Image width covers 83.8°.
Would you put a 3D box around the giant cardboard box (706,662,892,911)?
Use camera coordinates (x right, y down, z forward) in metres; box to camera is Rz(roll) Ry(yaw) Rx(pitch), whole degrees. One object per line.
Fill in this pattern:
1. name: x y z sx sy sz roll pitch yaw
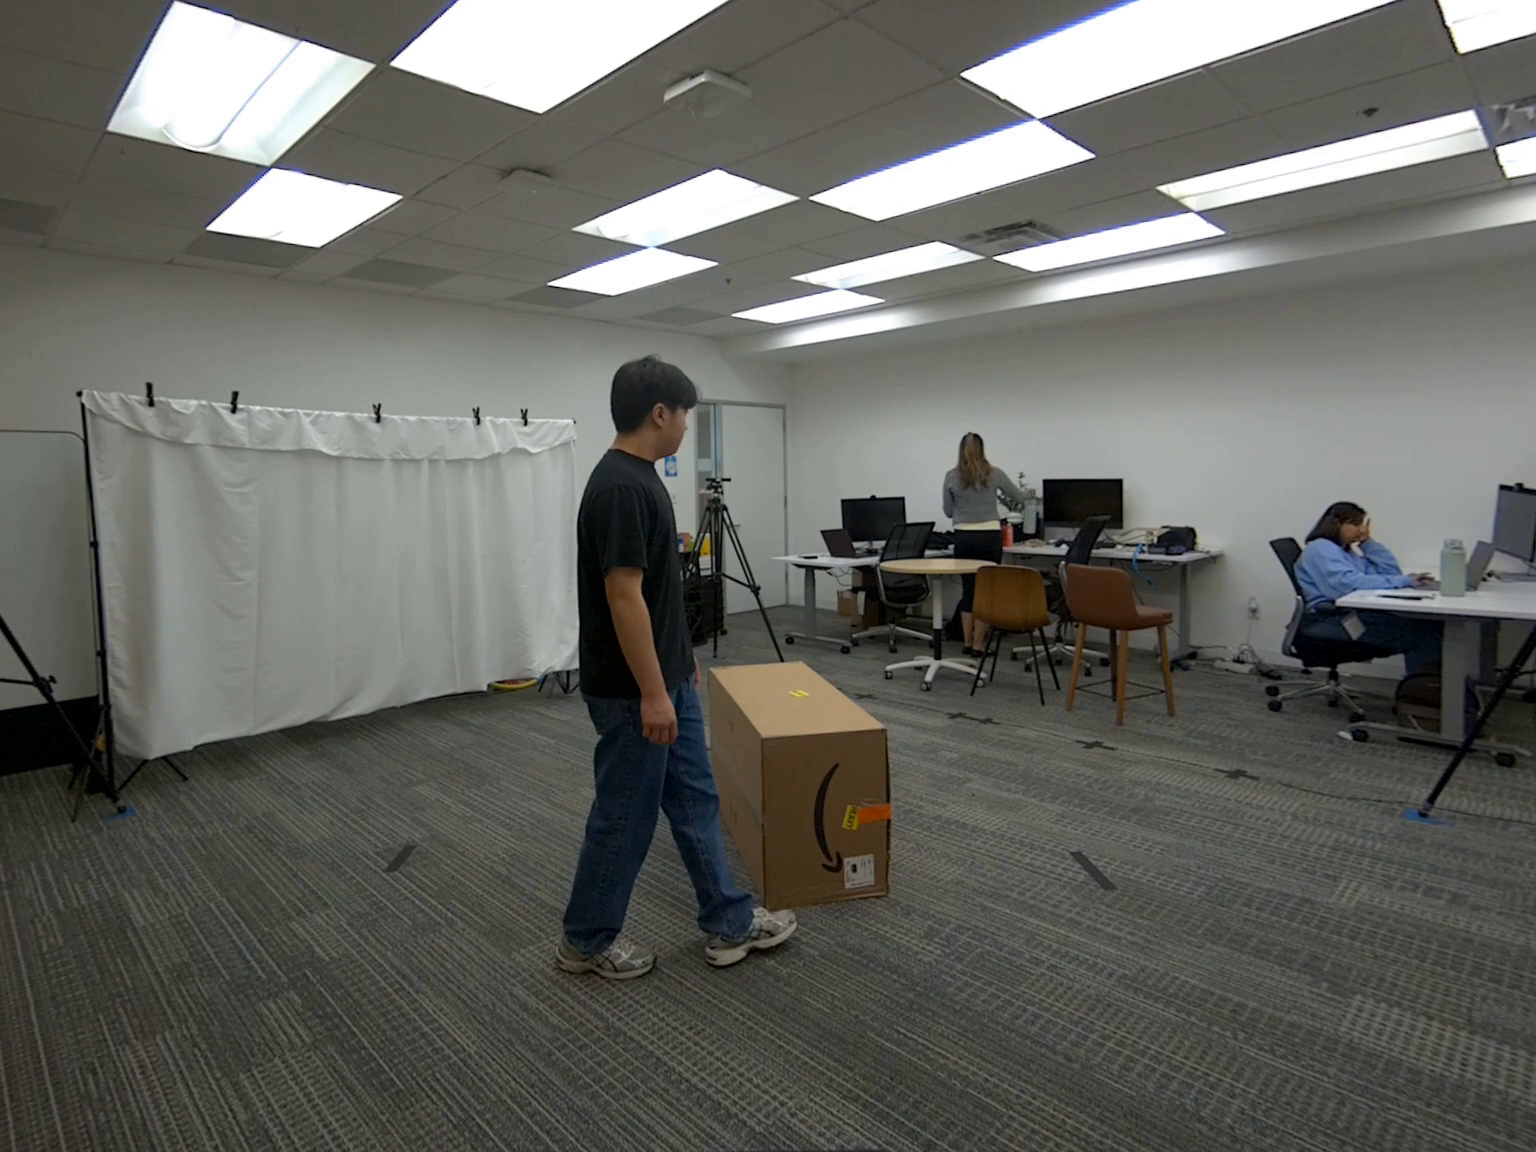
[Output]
1. giant cardboard box: 0.076 0.731 3.282 0.441 0.581 1.044 -1 6 -14
